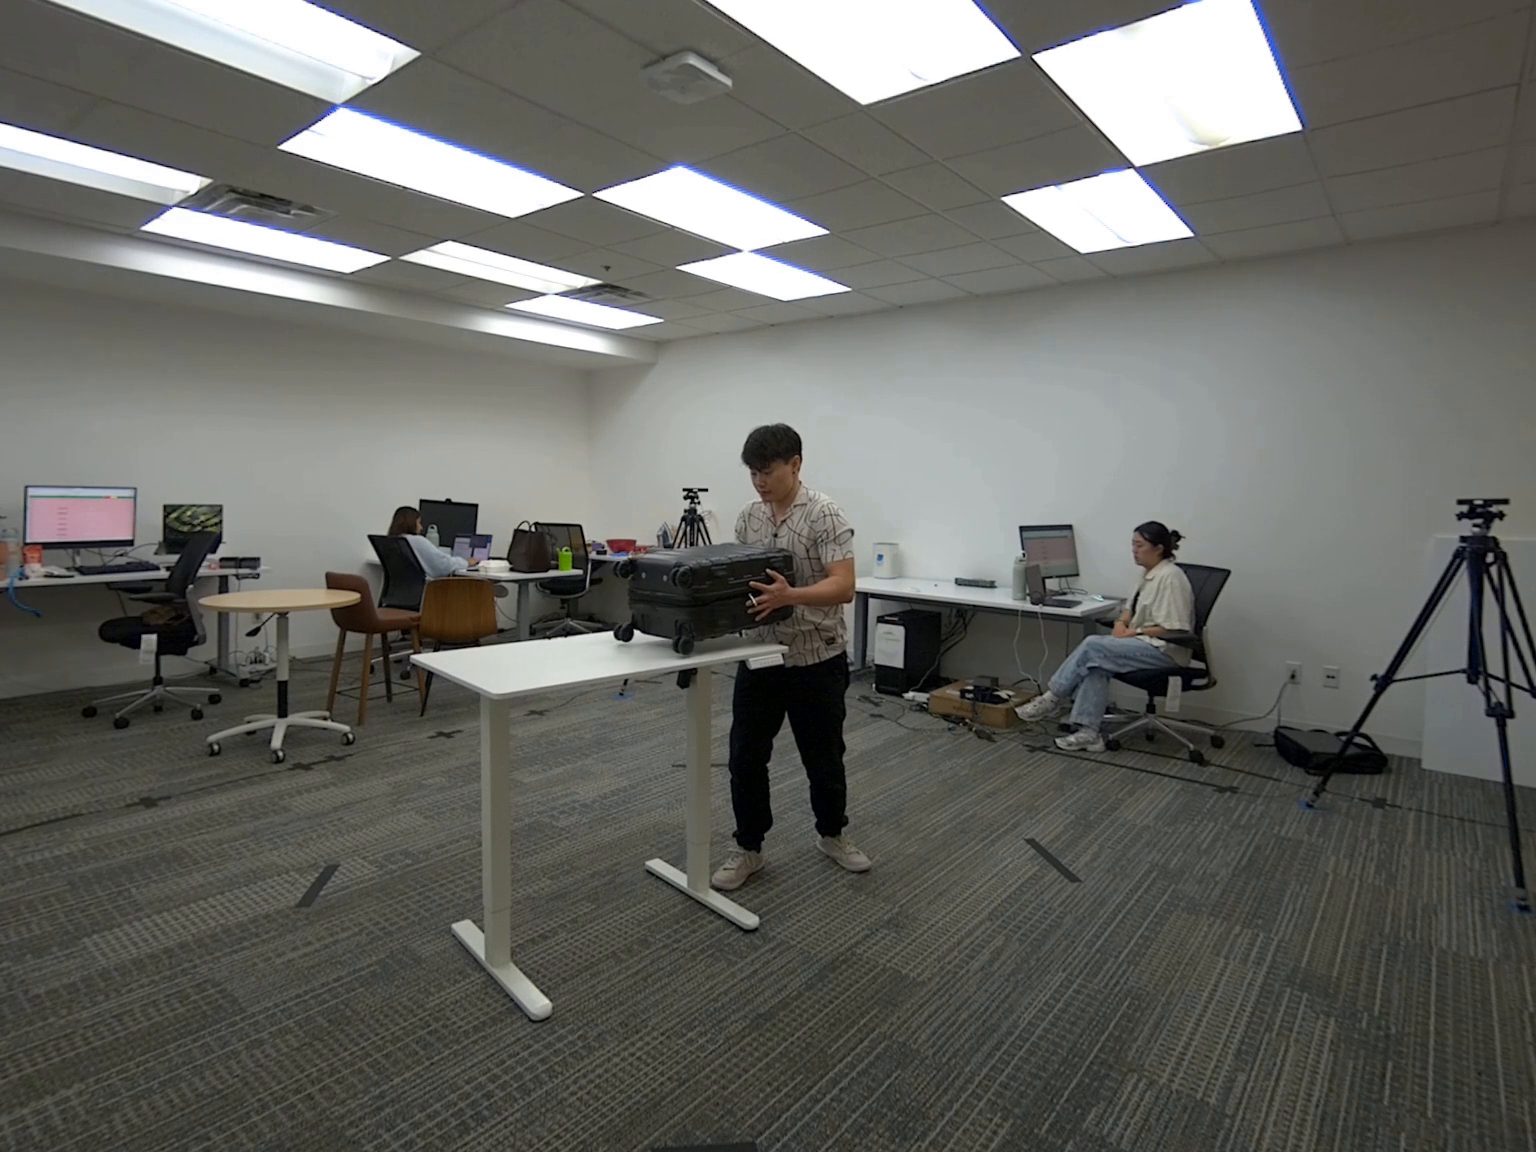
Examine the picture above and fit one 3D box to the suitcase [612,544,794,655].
[{"bbox_3d":[-0.201,0.038,2.795,0.535,0.246,0.388,-12,12,-44],"label":"suitcase"}]
